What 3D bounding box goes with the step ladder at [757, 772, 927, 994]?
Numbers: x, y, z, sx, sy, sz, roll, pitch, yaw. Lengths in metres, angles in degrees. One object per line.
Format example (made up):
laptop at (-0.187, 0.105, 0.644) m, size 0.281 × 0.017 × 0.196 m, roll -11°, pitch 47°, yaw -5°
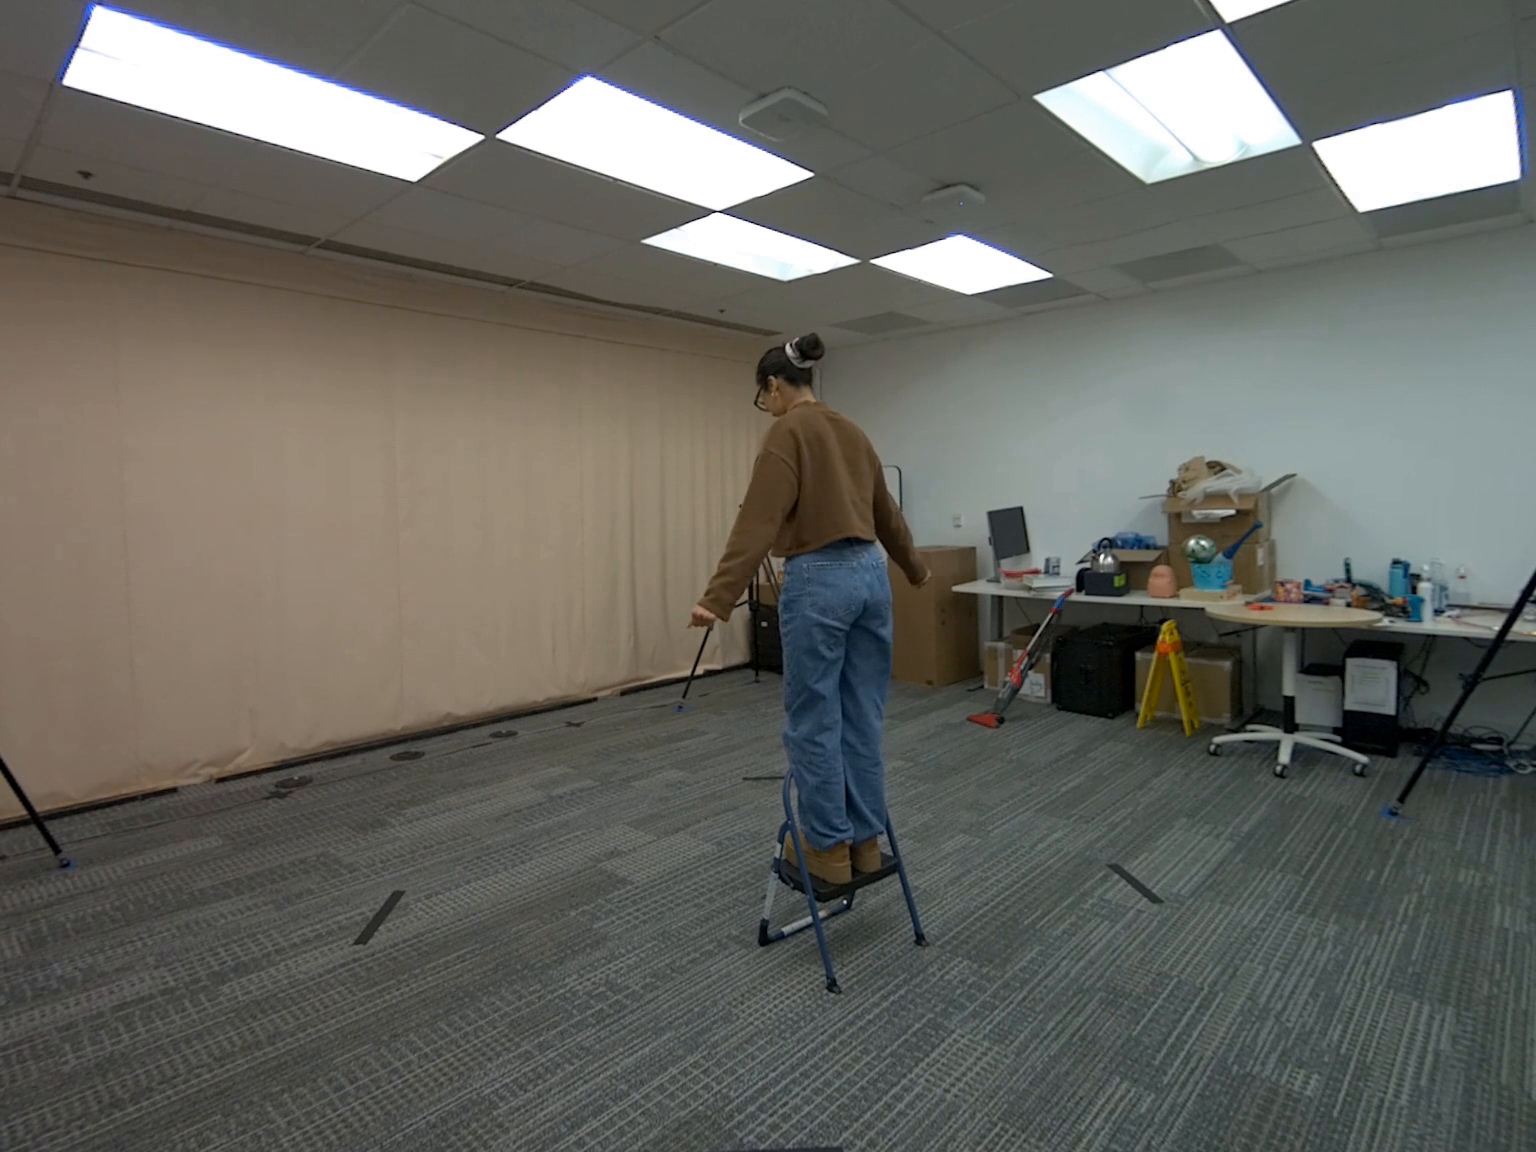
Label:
step ladder at (0.232, 0.864, 2.643) m, size 0.418 × 0.605 × 0.361 m, roll -4°, pitch 4°, yaw -40°
